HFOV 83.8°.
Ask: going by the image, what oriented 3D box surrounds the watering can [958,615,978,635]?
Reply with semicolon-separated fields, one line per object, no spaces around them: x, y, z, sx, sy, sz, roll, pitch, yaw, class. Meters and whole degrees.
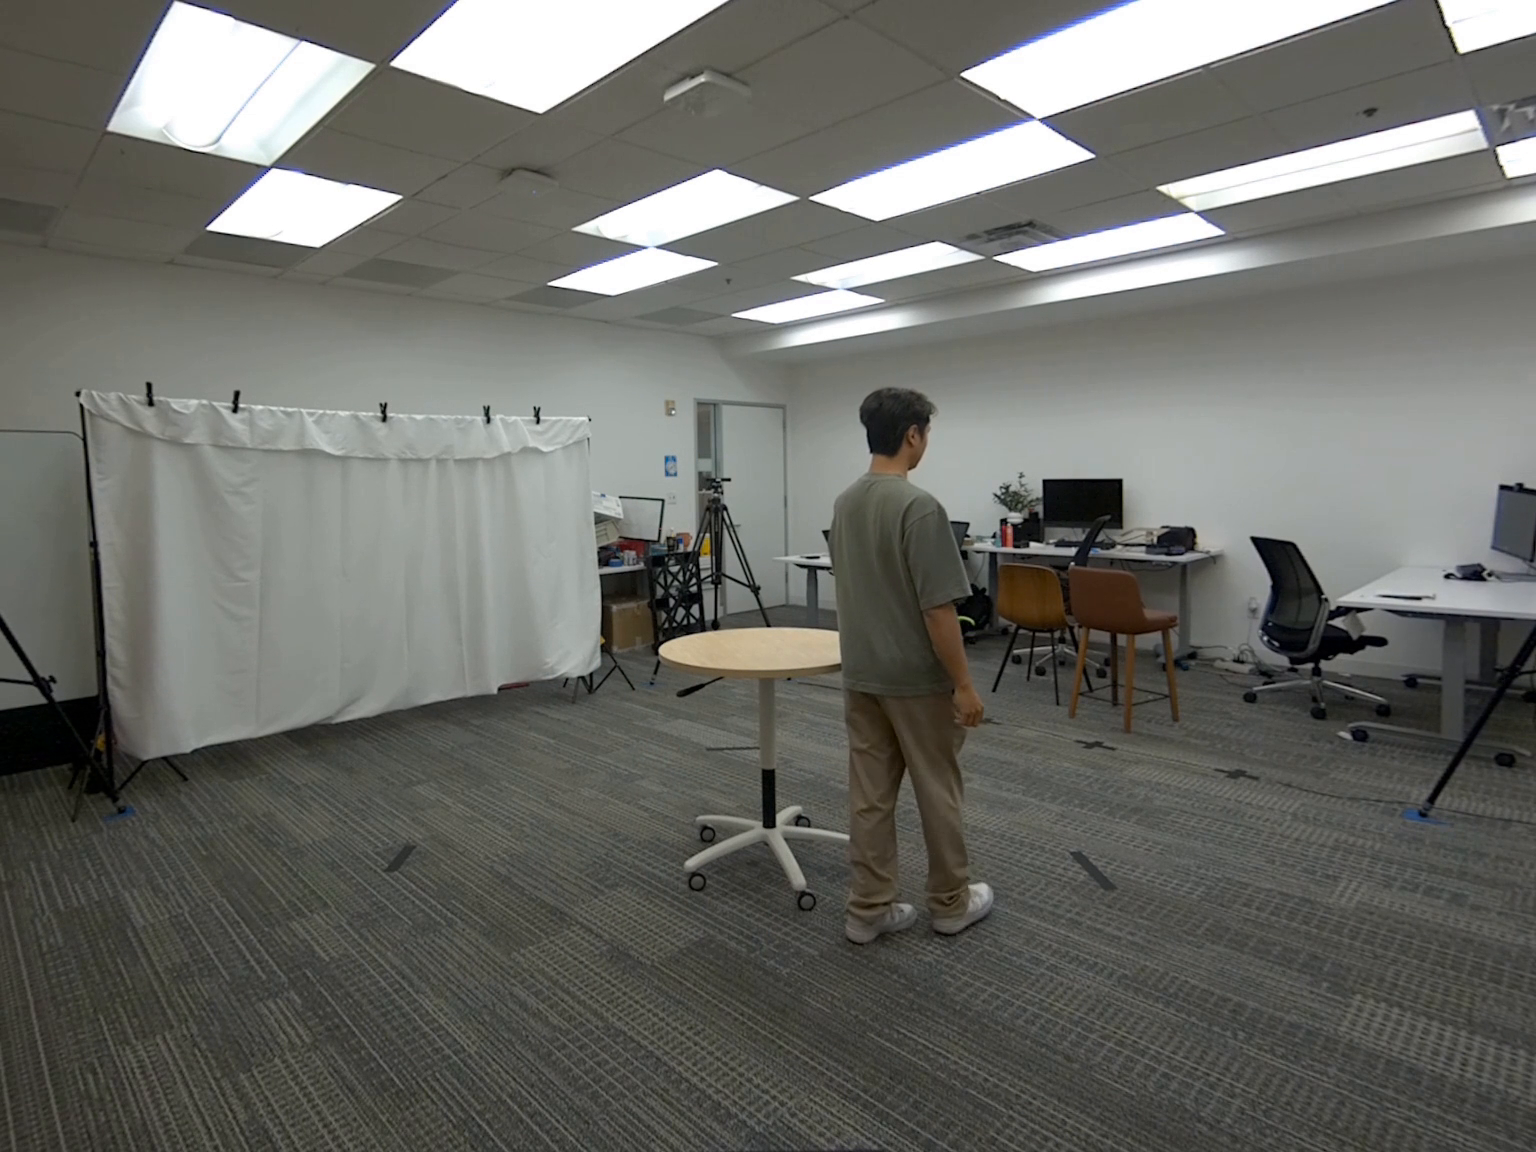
0.580;0.122;3.048;0.095;0.176;0.287;6;41;-53;watering can
